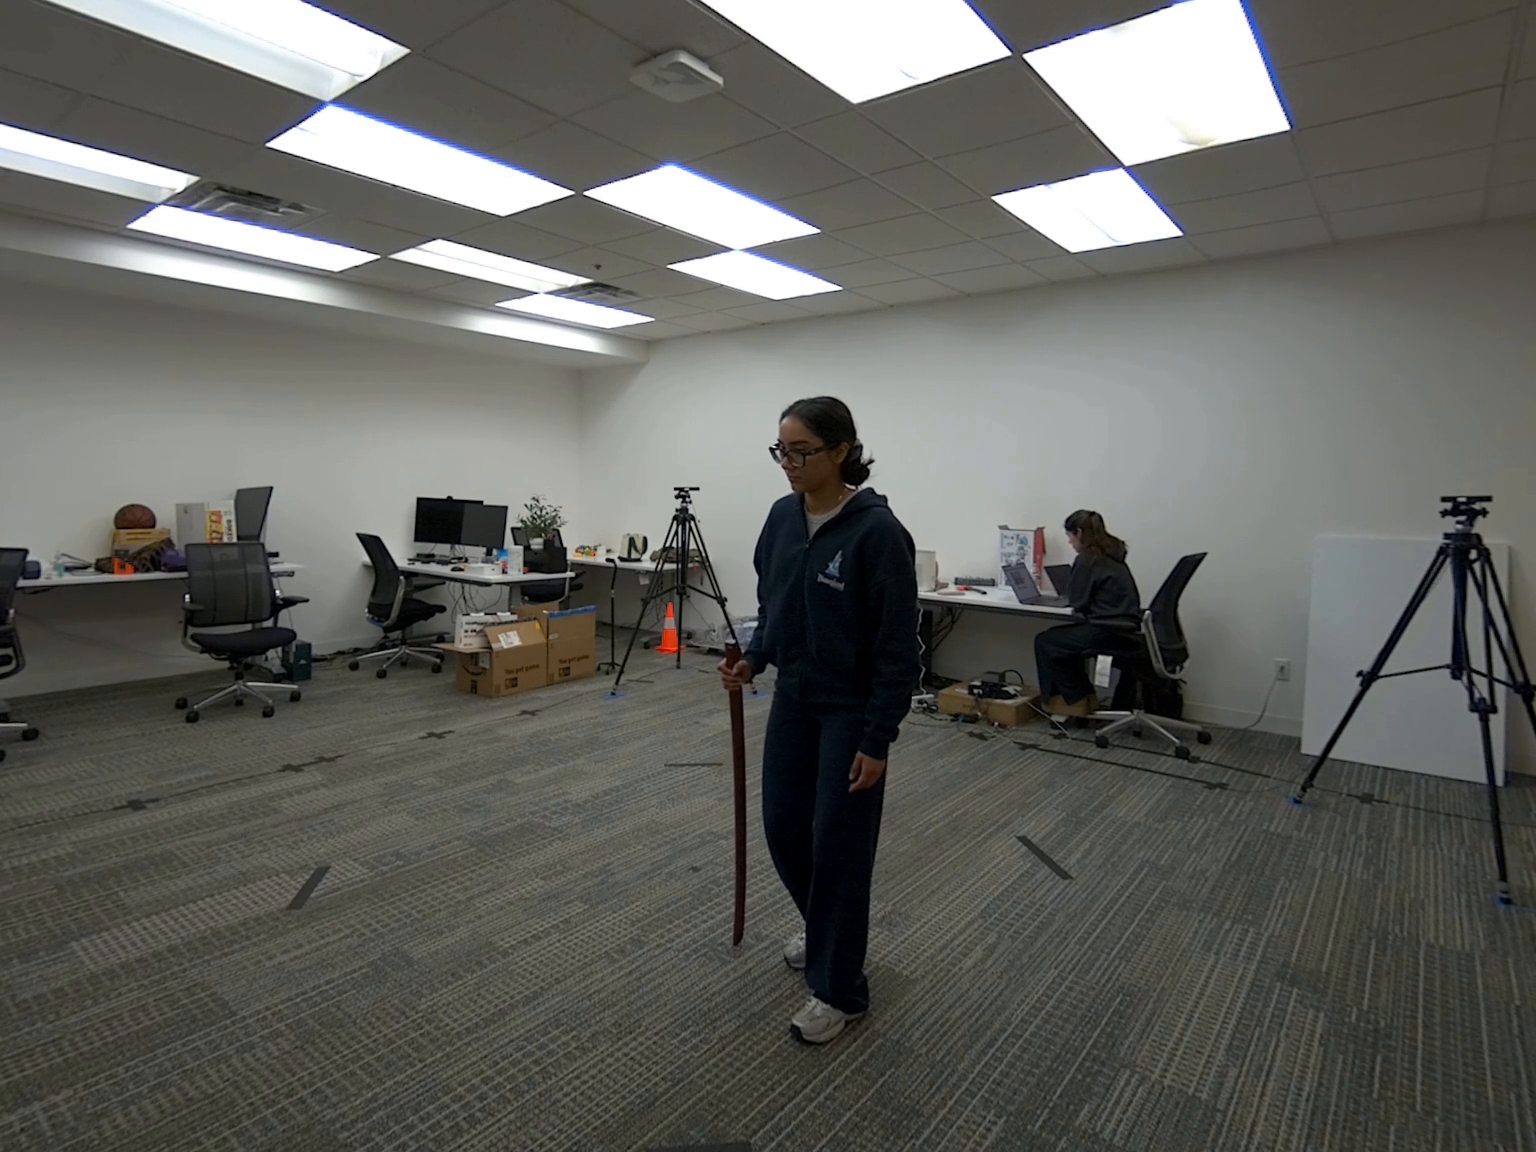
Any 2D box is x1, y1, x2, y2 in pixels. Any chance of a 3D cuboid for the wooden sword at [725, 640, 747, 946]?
[{"bbox_3d":[-0.105,0.658,2.430,0.053,1.005,0.024,12,24,33],"label":"wooden sword"}]
